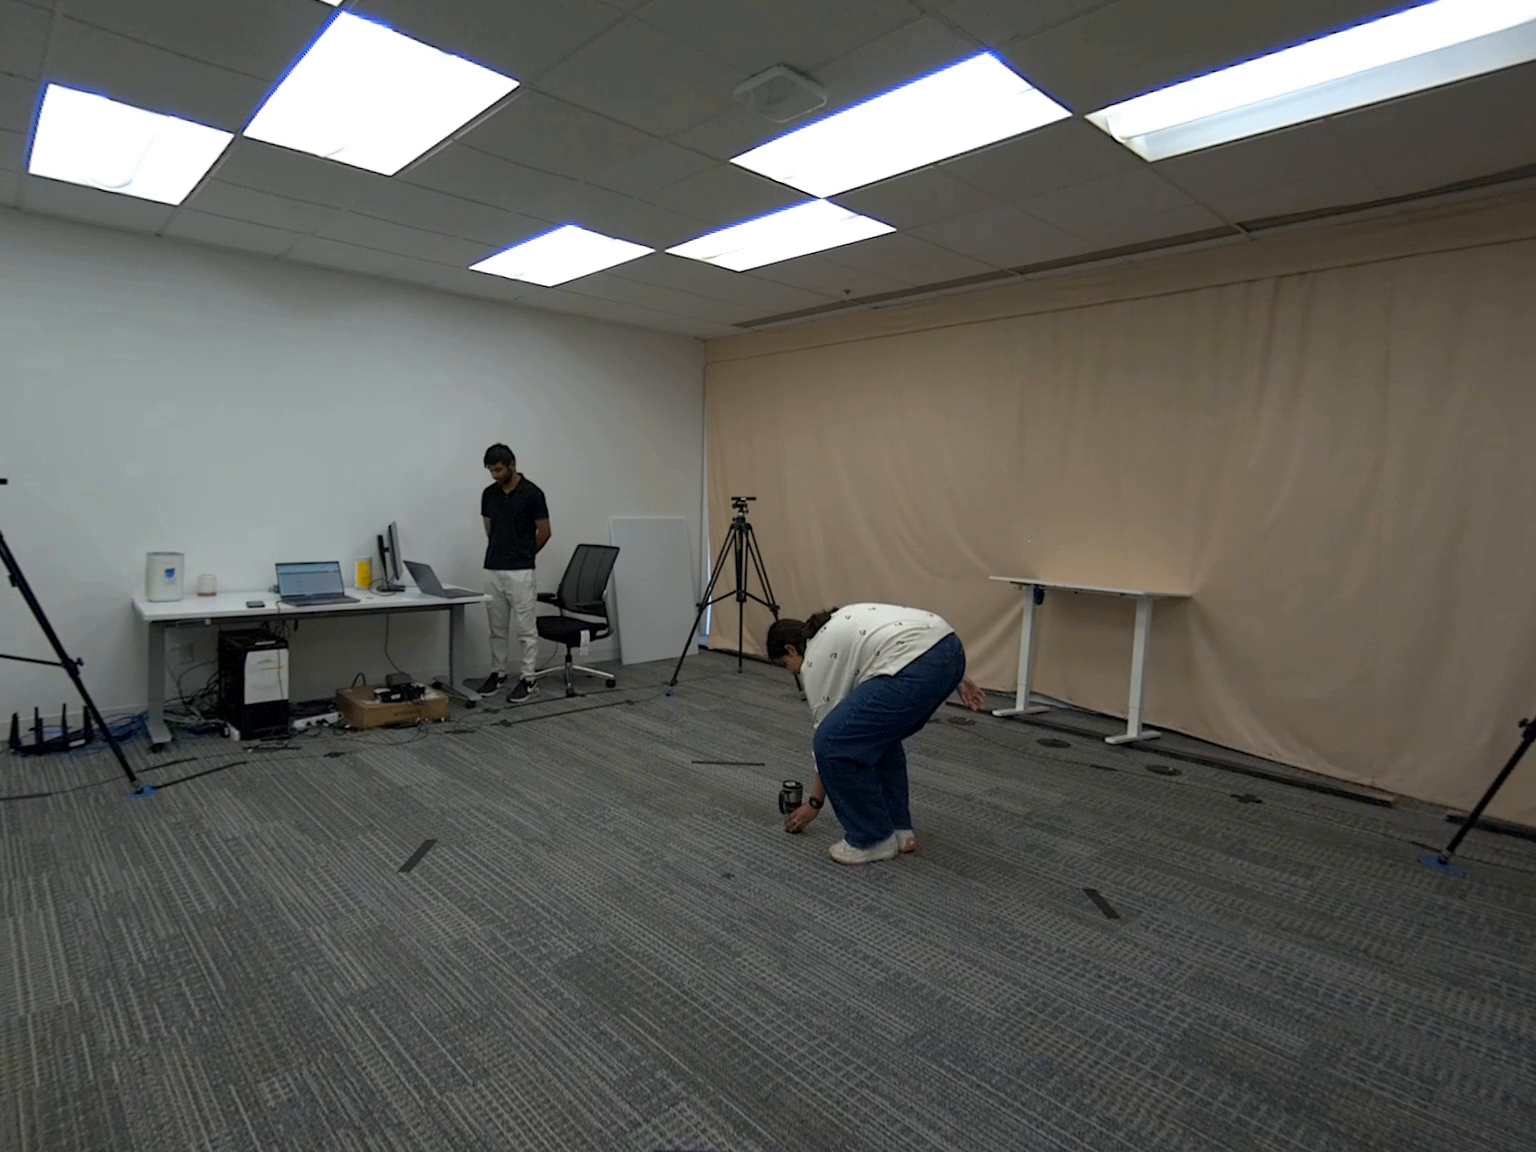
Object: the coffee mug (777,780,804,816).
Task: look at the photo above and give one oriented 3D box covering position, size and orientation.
[{"bbox_3d":[0.083,0.970,3.538,0.119,0.202,0.090,2,6,-29],"label":"coffee mug"}]
